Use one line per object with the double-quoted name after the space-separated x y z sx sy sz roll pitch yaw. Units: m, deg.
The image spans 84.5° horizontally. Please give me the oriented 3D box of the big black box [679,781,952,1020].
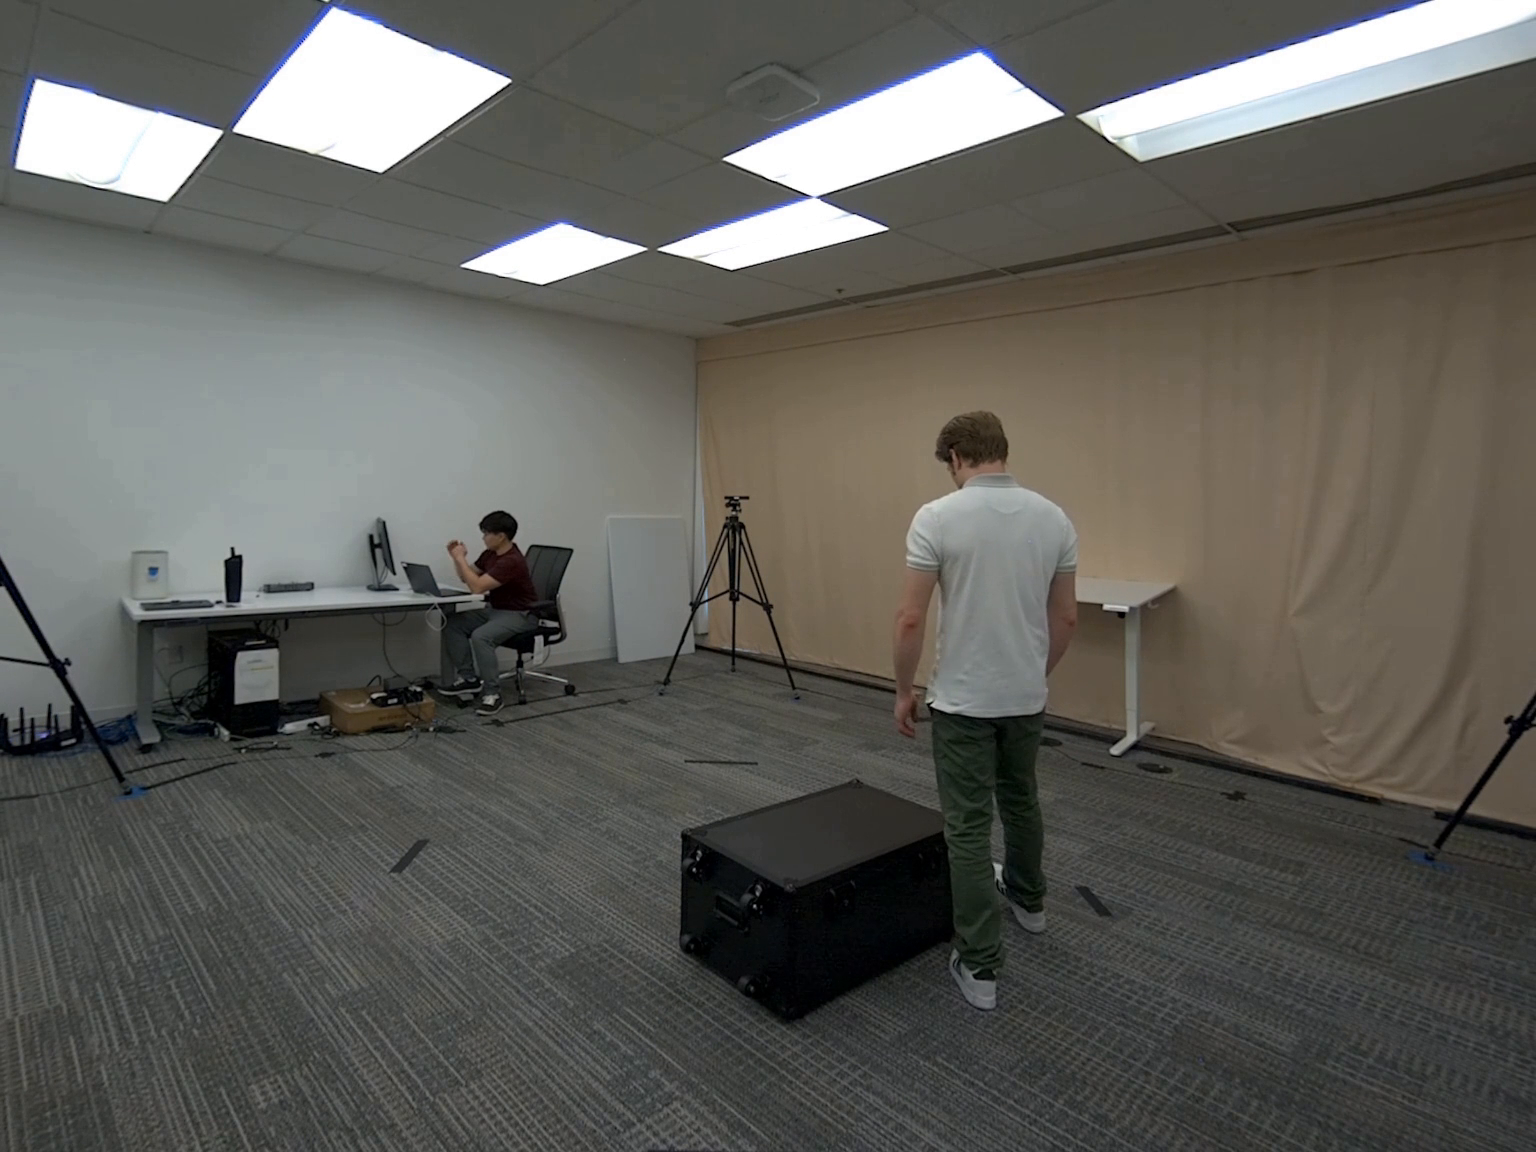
0.150 0.968 2.609 0.842 0.395 0.535 -2 6 -42 "big black box"
